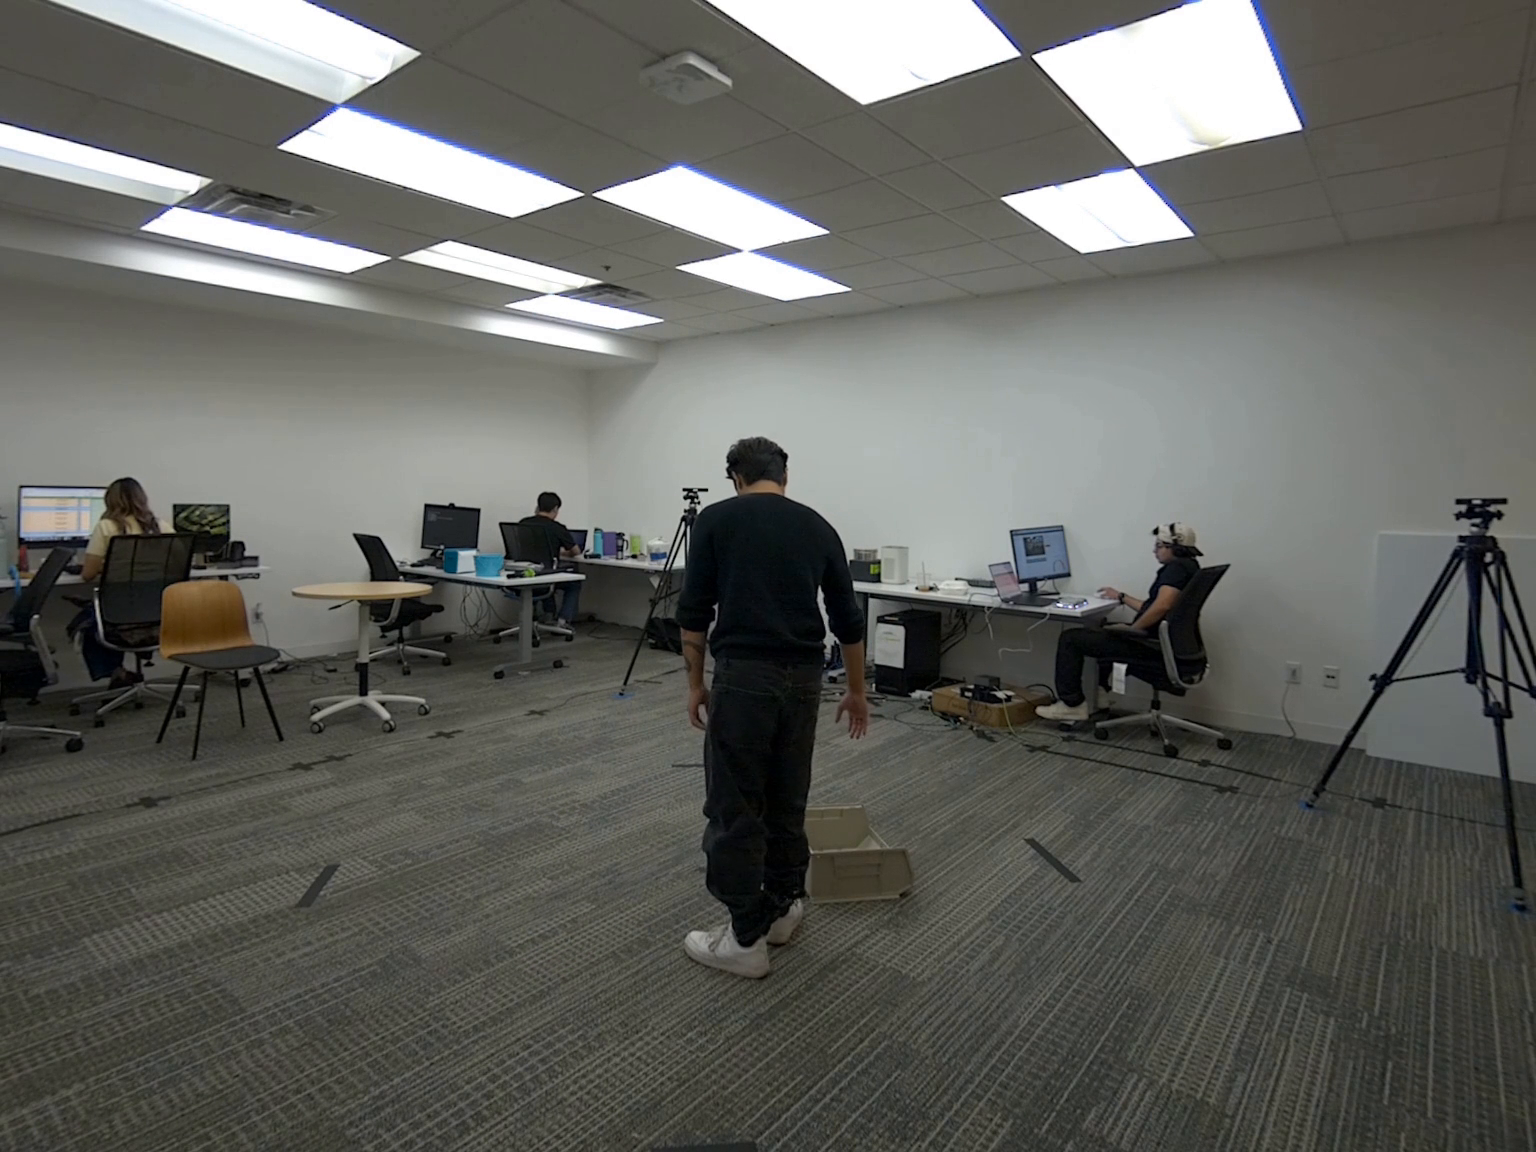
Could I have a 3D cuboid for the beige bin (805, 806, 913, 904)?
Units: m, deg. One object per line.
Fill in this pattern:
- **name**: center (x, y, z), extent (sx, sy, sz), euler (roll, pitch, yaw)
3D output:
- **beige bin**: center (0.270, 0.998, 3.092), extent (0.372, 0.188, 0.429), euler (0, 5, -13)
